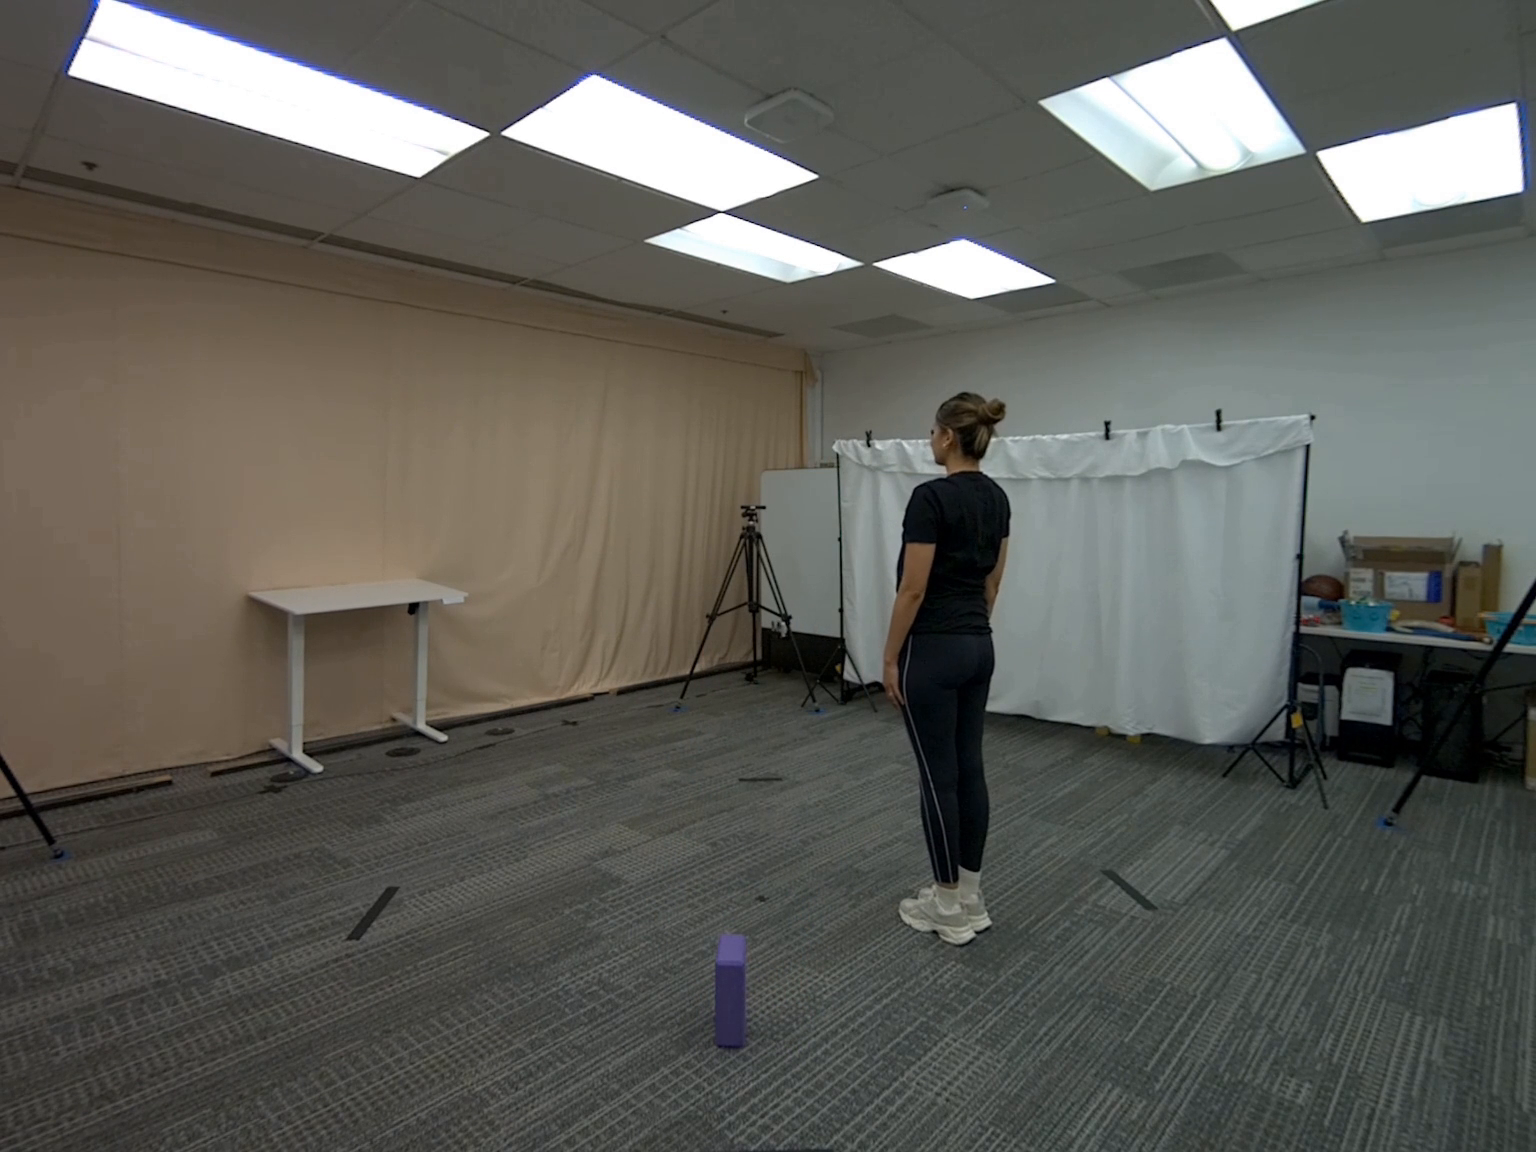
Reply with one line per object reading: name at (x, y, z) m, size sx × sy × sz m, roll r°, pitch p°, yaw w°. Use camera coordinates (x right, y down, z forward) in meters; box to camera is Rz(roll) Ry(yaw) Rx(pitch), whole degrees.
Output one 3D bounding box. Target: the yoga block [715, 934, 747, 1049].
yoga block at (-0.097, 1.096, 2.219) m, size 0.077 × 0.229 × 0.148 m, roll 1°, pitch 3°, yaw 2°
